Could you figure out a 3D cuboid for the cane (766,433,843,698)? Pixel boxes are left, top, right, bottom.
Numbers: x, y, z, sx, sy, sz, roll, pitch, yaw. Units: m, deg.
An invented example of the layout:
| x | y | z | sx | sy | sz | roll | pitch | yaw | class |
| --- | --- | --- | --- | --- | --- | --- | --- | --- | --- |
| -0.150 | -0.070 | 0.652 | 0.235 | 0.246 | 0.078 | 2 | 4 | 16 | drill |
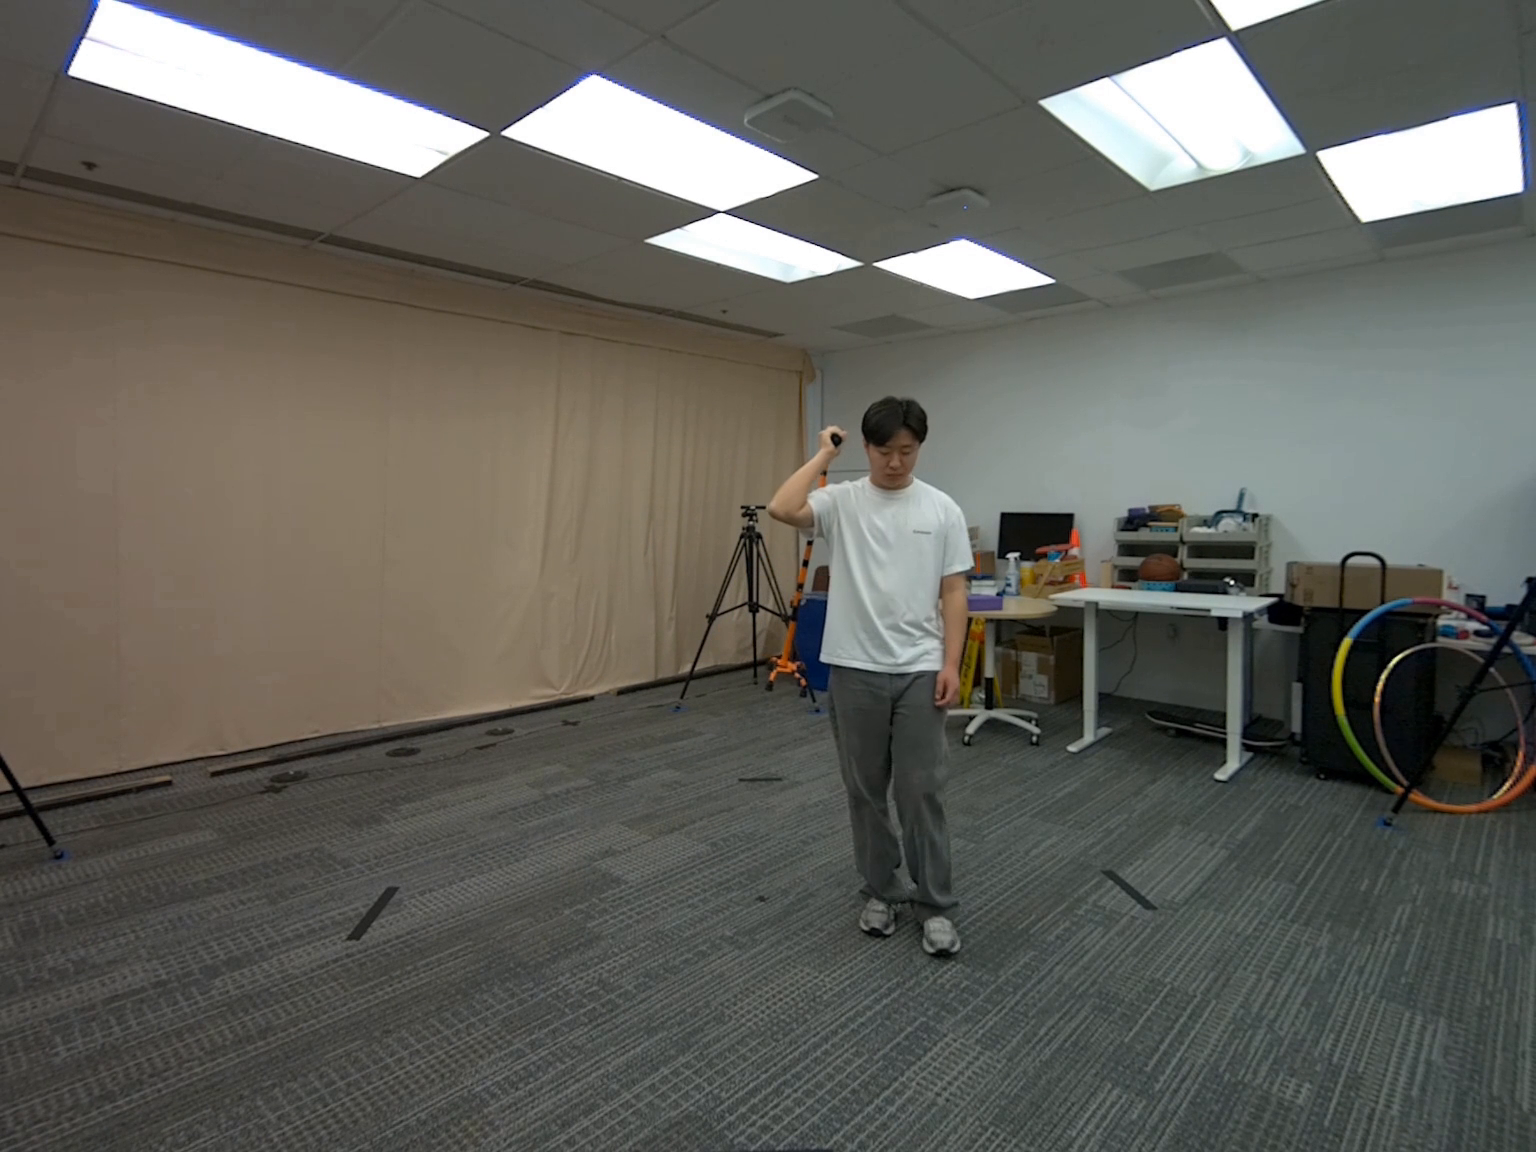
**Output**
| x | y | z | sx | sy | sz | roll | pitch | yaw | class |
| --- | --- | --- | --- | --- | --- | --- | --- | --- | --- |
| 0.156 | -0.046 | 2.897 | 0.150 | 0.902 | 0.210 | 7 | 14 | -12 | cane |
